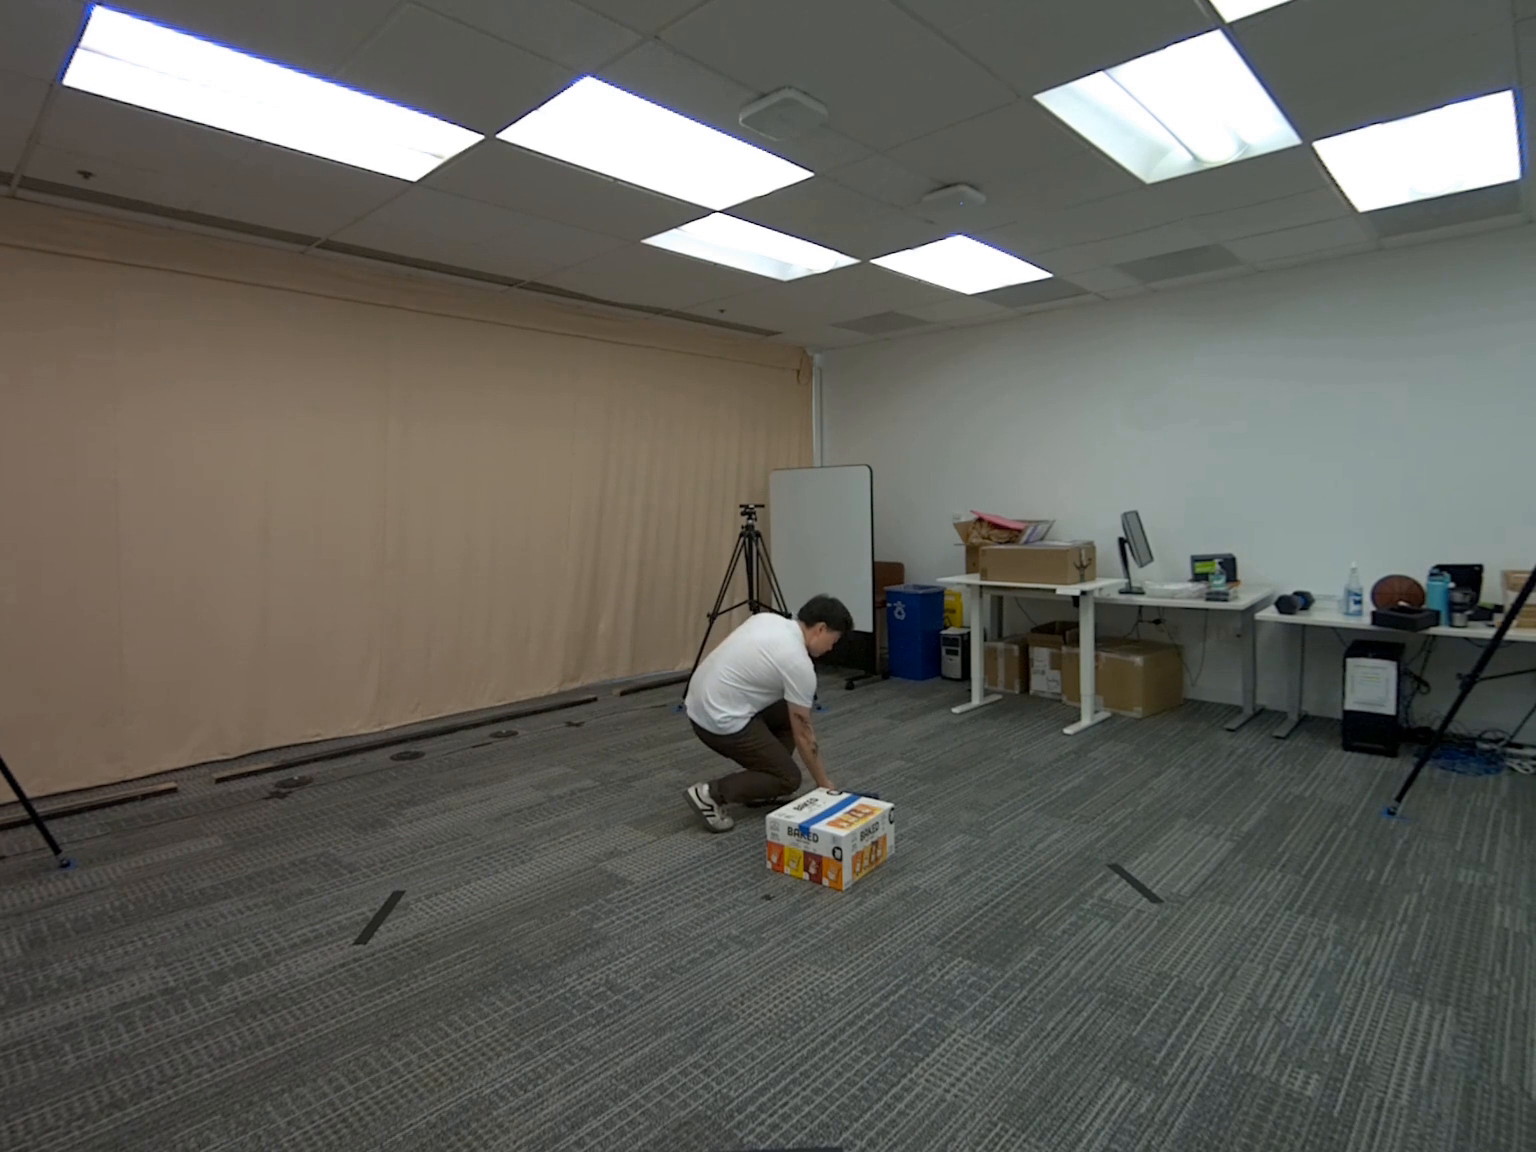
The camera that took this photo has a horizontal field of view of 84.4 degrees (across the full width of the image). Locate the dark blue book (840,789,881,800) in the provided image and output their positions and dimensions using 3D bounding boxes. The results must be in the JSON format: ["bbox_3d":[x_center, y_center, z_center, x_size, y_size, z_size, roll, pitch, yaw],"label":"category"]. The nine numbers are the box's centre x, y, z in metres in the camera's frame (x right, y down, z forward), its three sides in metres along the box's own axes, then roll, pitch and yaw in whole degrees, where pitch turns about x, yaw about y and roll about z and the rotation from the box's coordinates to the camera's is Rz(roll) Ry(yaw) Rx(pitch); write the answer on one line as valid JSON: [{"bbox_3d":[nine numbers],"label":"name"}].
[{"bbox_3d":[0.389,1.032,3.843,0.247,0.045,0.162,0,2,7],"label":"dark blue book"}]
